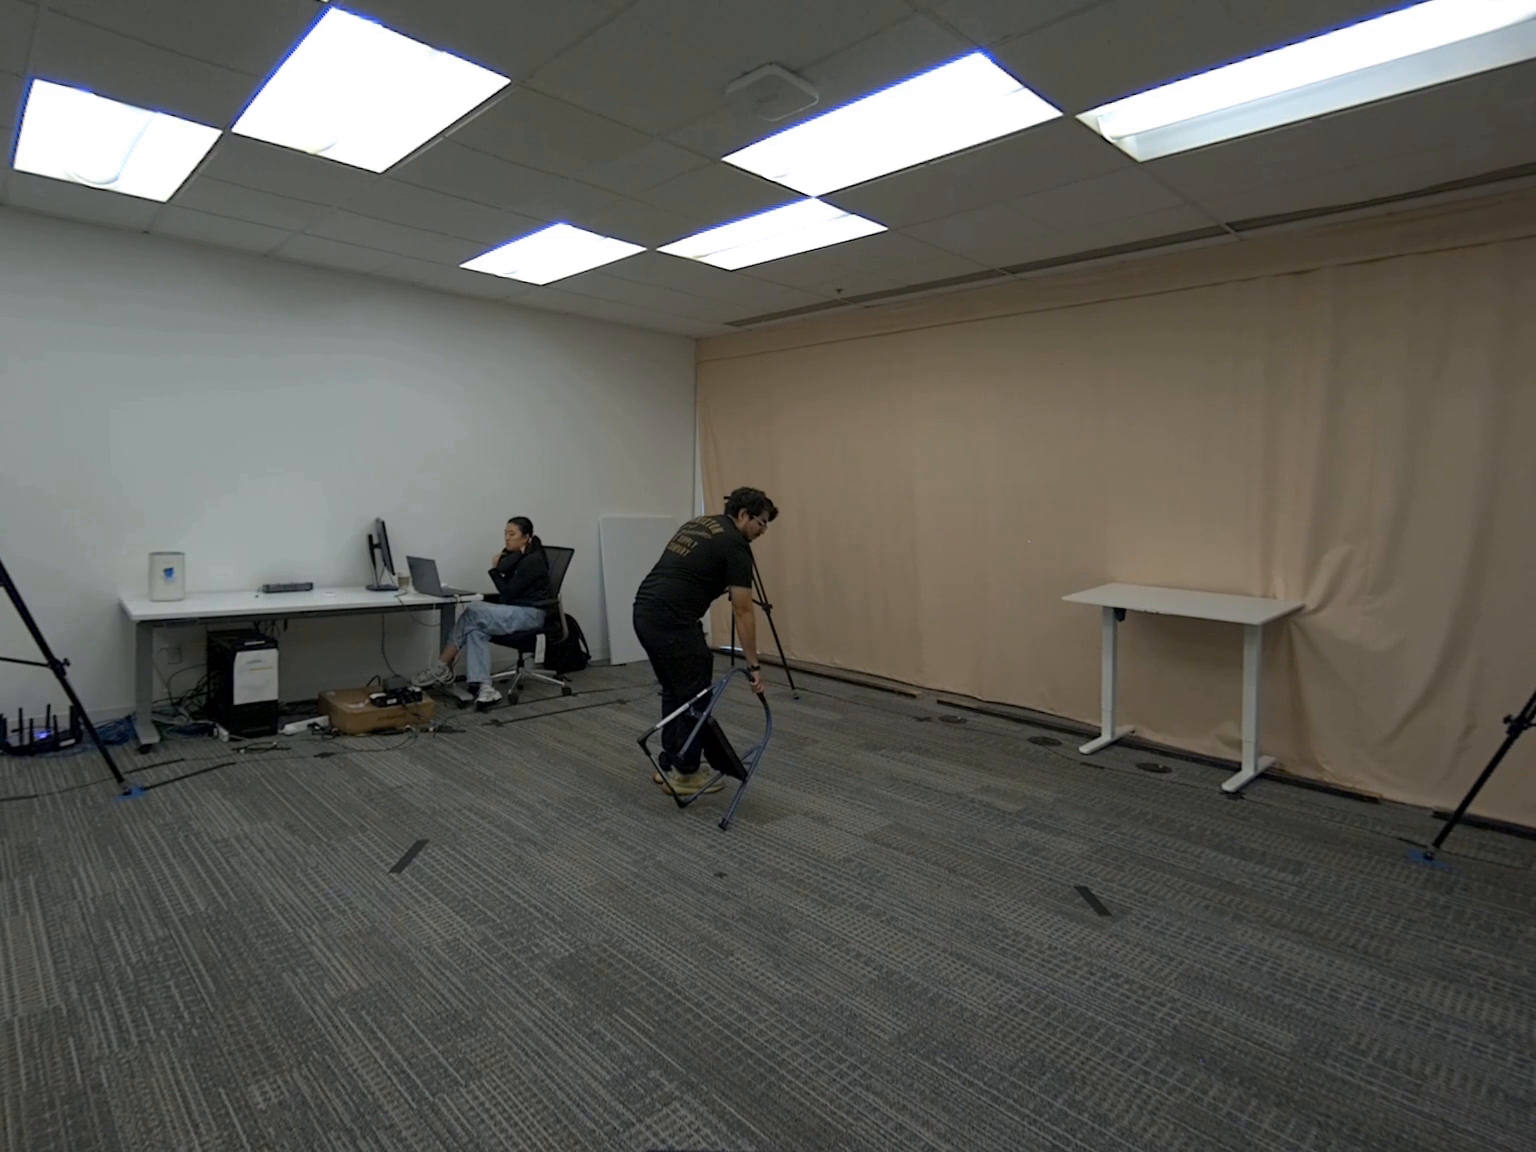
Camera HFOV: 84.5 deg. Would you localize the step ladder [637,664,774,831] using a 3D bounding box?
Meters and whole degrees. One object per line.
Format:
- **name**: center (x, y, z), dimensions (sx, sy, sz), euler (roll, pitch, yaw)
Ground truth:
- **step ladder**: center (-0.187, 0.707, 3.719), dimensions (0.604, 0.421, 0.358), euler (-41, 27, -30)
